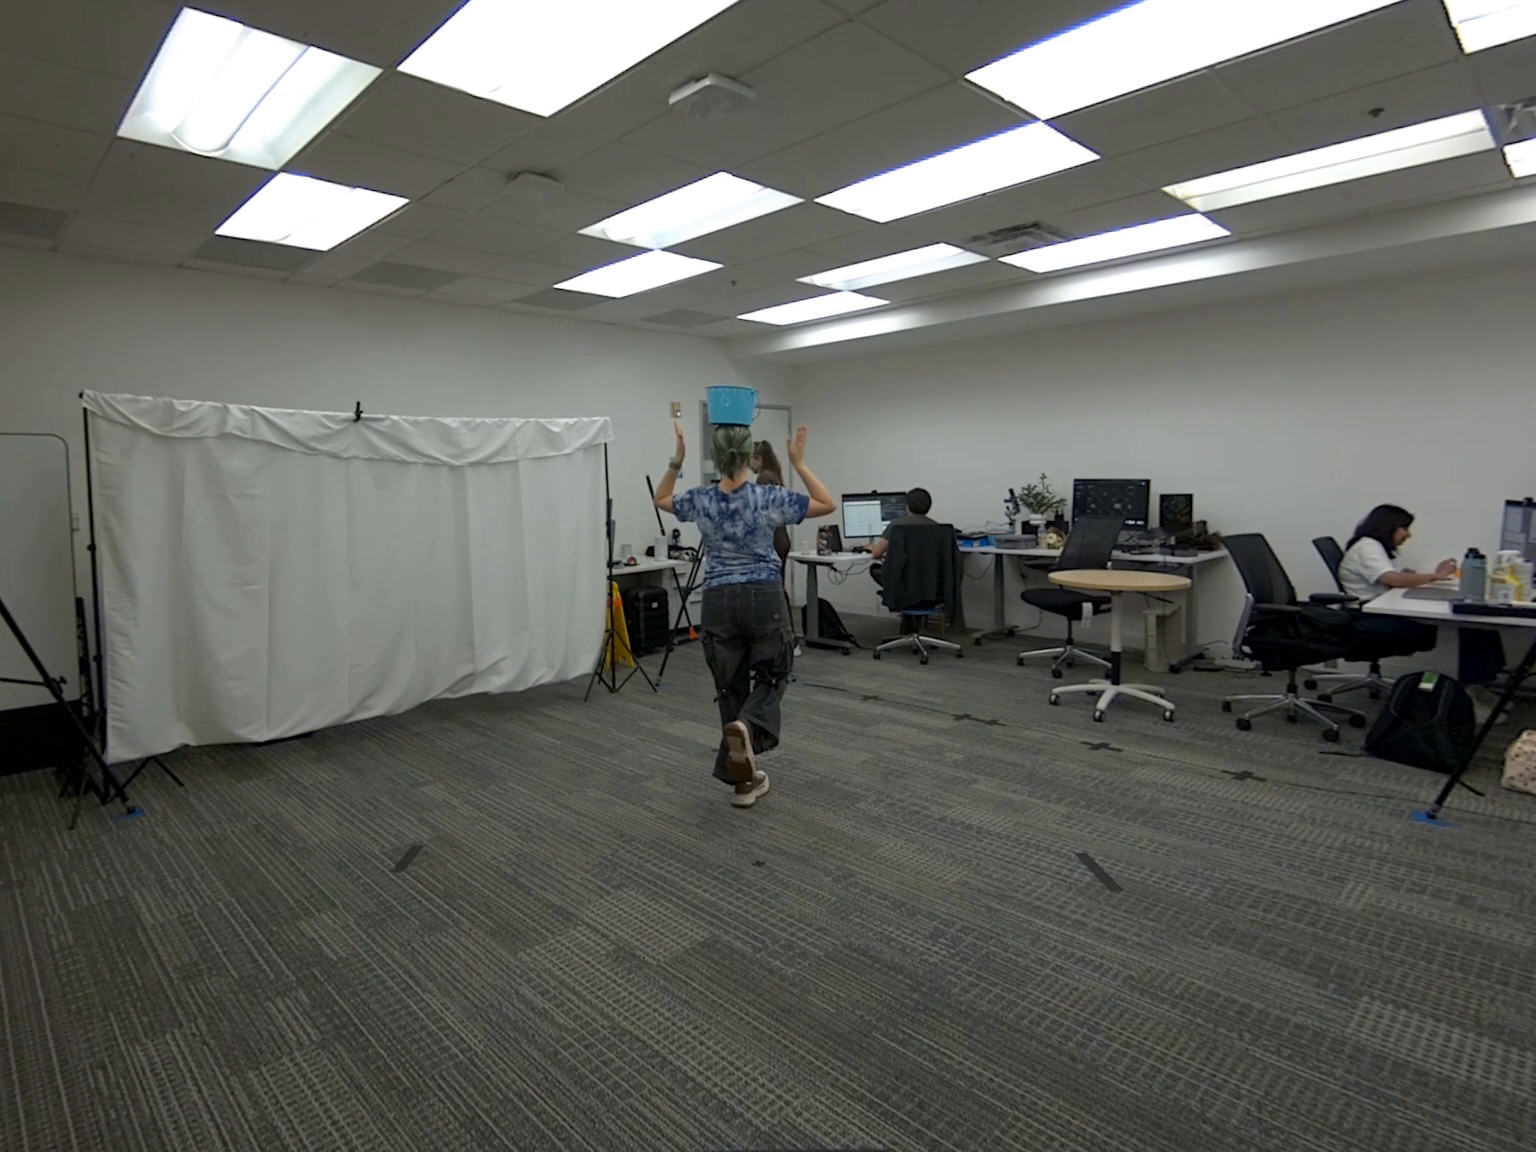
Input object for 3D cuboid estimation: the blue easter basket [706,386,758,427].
[{"bbox_3d":[-0.159,-0.724,3.683,0.243,0.155,0.244,2,4,-2],"label":"blue easter basket"}]
